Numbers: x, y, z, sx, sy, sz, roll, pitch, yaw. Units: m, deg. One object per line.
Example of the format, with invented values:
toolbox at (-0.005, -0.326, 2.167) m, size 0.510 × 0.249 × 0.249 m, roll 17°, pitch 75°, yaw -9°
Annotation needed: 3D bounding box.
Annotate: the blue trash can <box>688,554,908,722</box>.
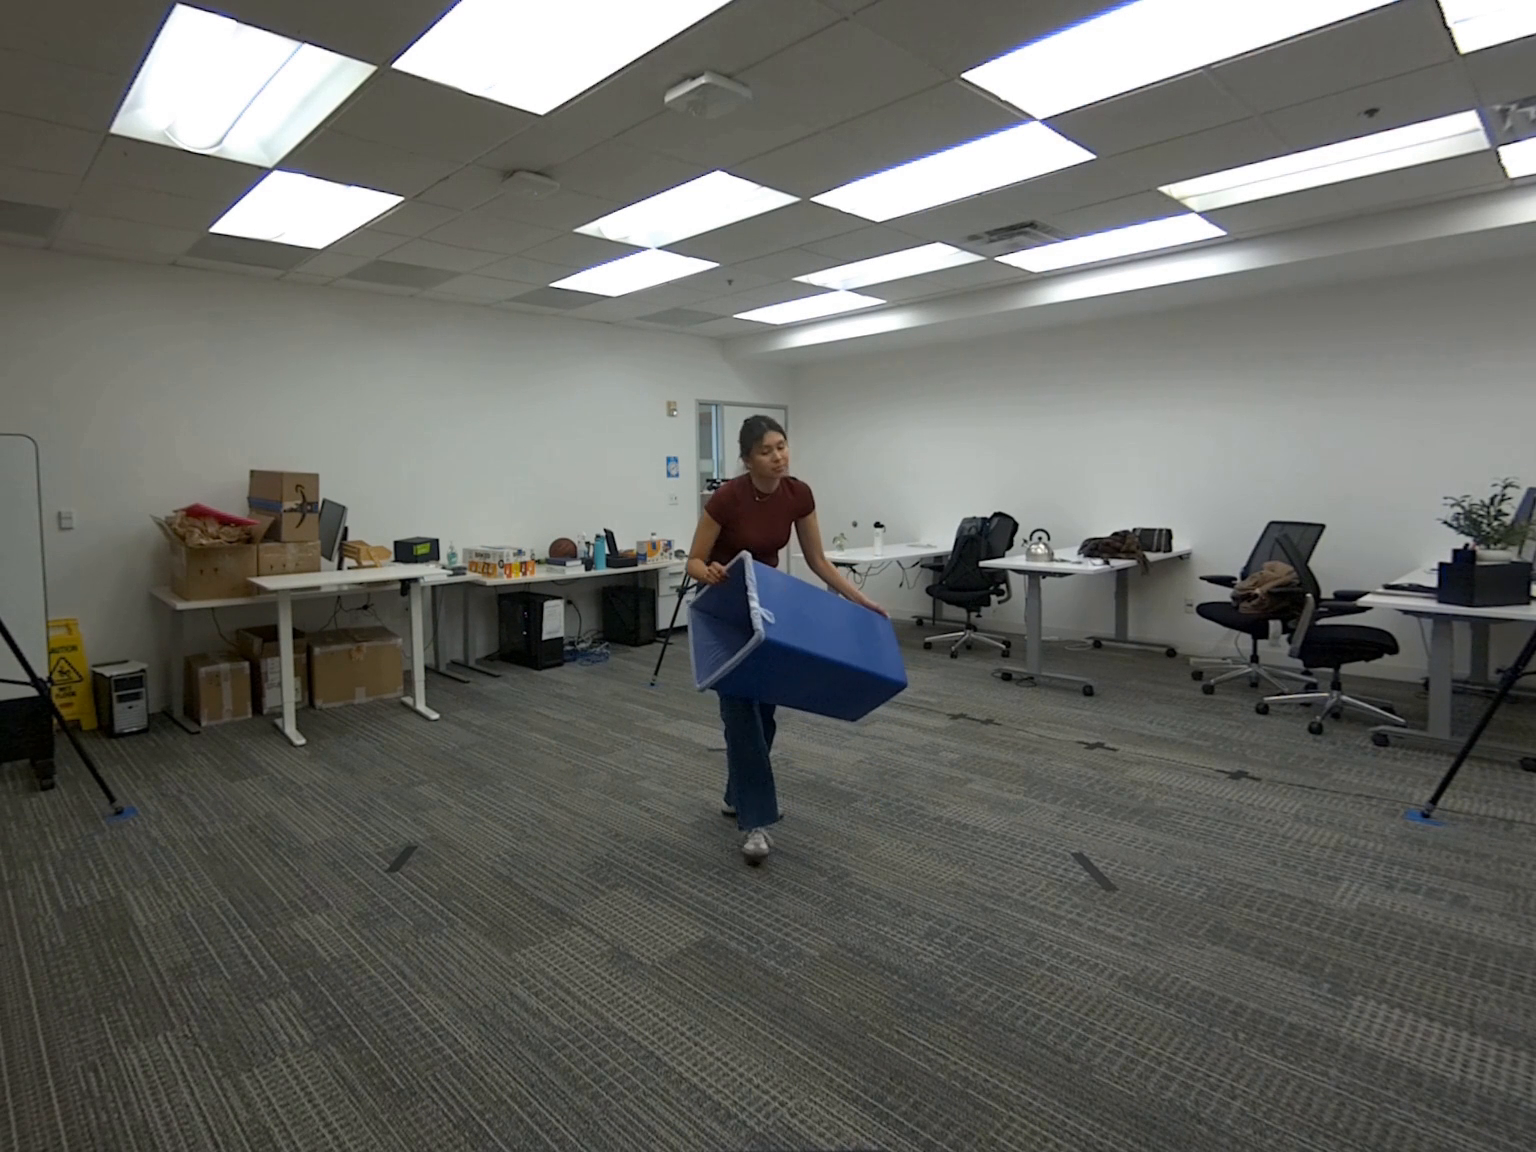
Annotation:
blue trash can at (0.107, 0.265, 3.041) m, size 0.691 × 0.390 × 0.375 m, roll 22°, pitch -49°, yaw -31°
